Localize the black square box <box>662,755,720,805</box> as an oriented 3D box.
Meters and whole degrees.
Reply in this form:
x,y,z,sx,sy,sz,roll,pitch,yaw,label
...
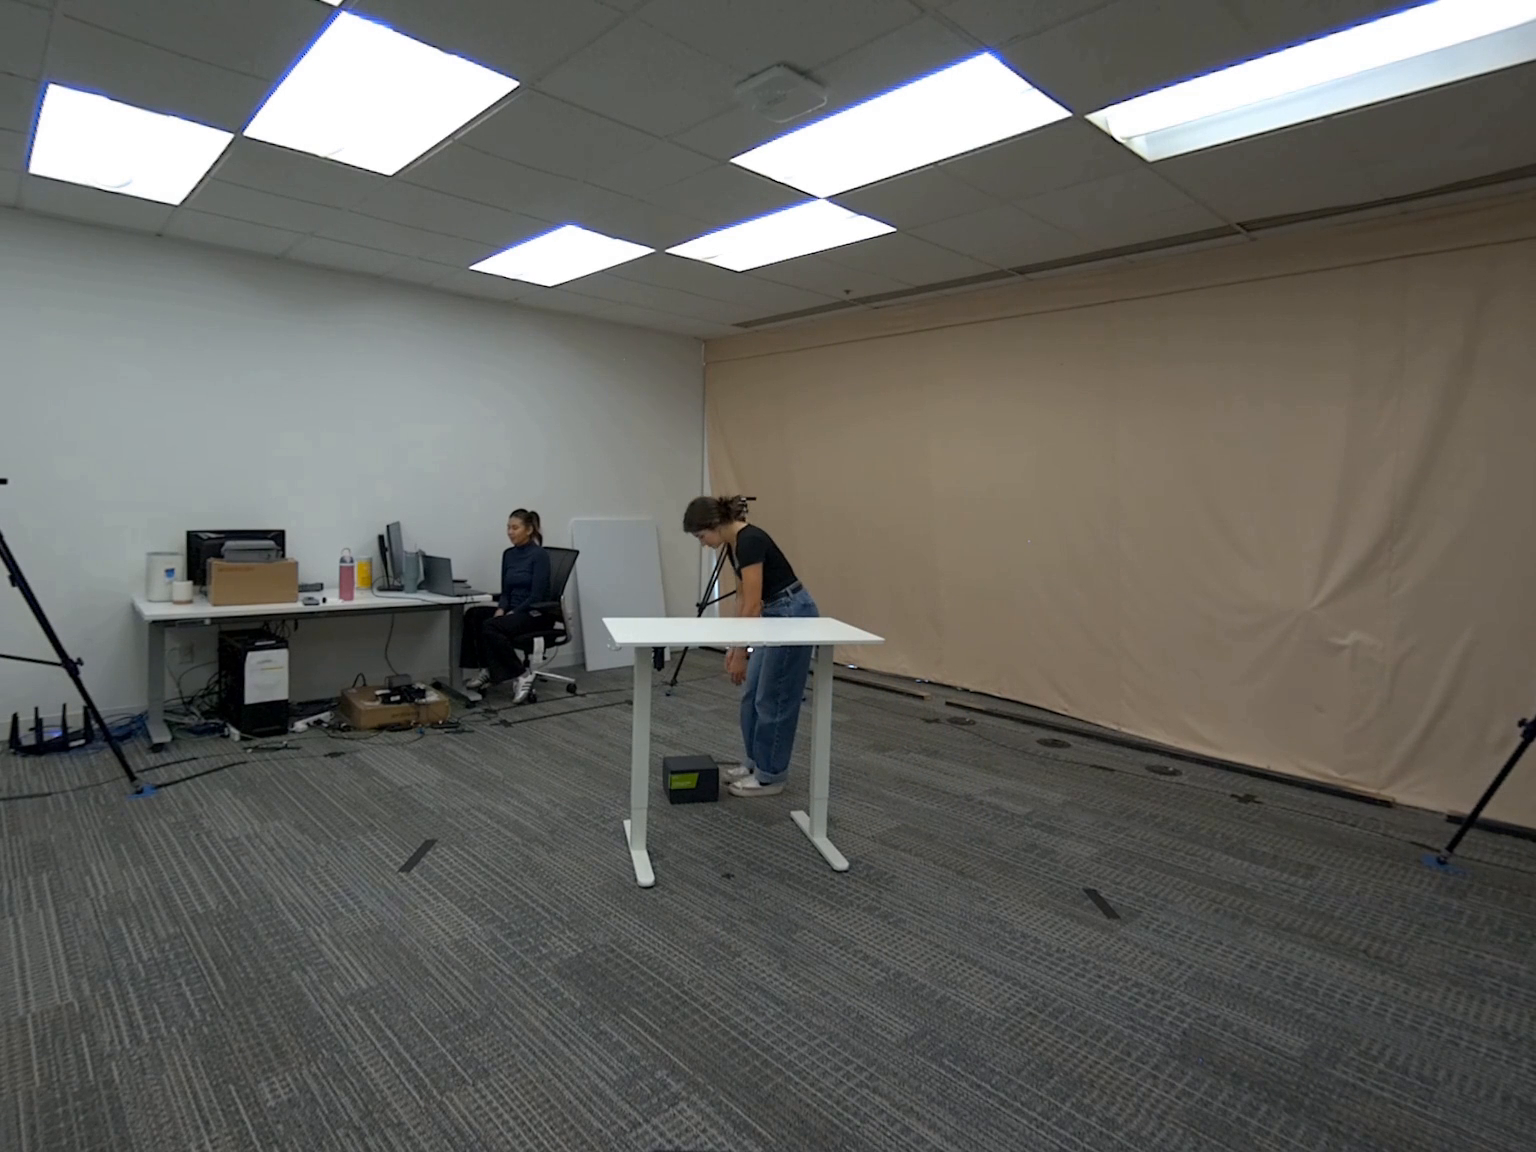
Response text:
x,y,z,sx,sy,sz,roll,pitch,yaw,label
-0.372,0.947,3.945,0.225,0.155,0.220,0,4,-15,black square box
